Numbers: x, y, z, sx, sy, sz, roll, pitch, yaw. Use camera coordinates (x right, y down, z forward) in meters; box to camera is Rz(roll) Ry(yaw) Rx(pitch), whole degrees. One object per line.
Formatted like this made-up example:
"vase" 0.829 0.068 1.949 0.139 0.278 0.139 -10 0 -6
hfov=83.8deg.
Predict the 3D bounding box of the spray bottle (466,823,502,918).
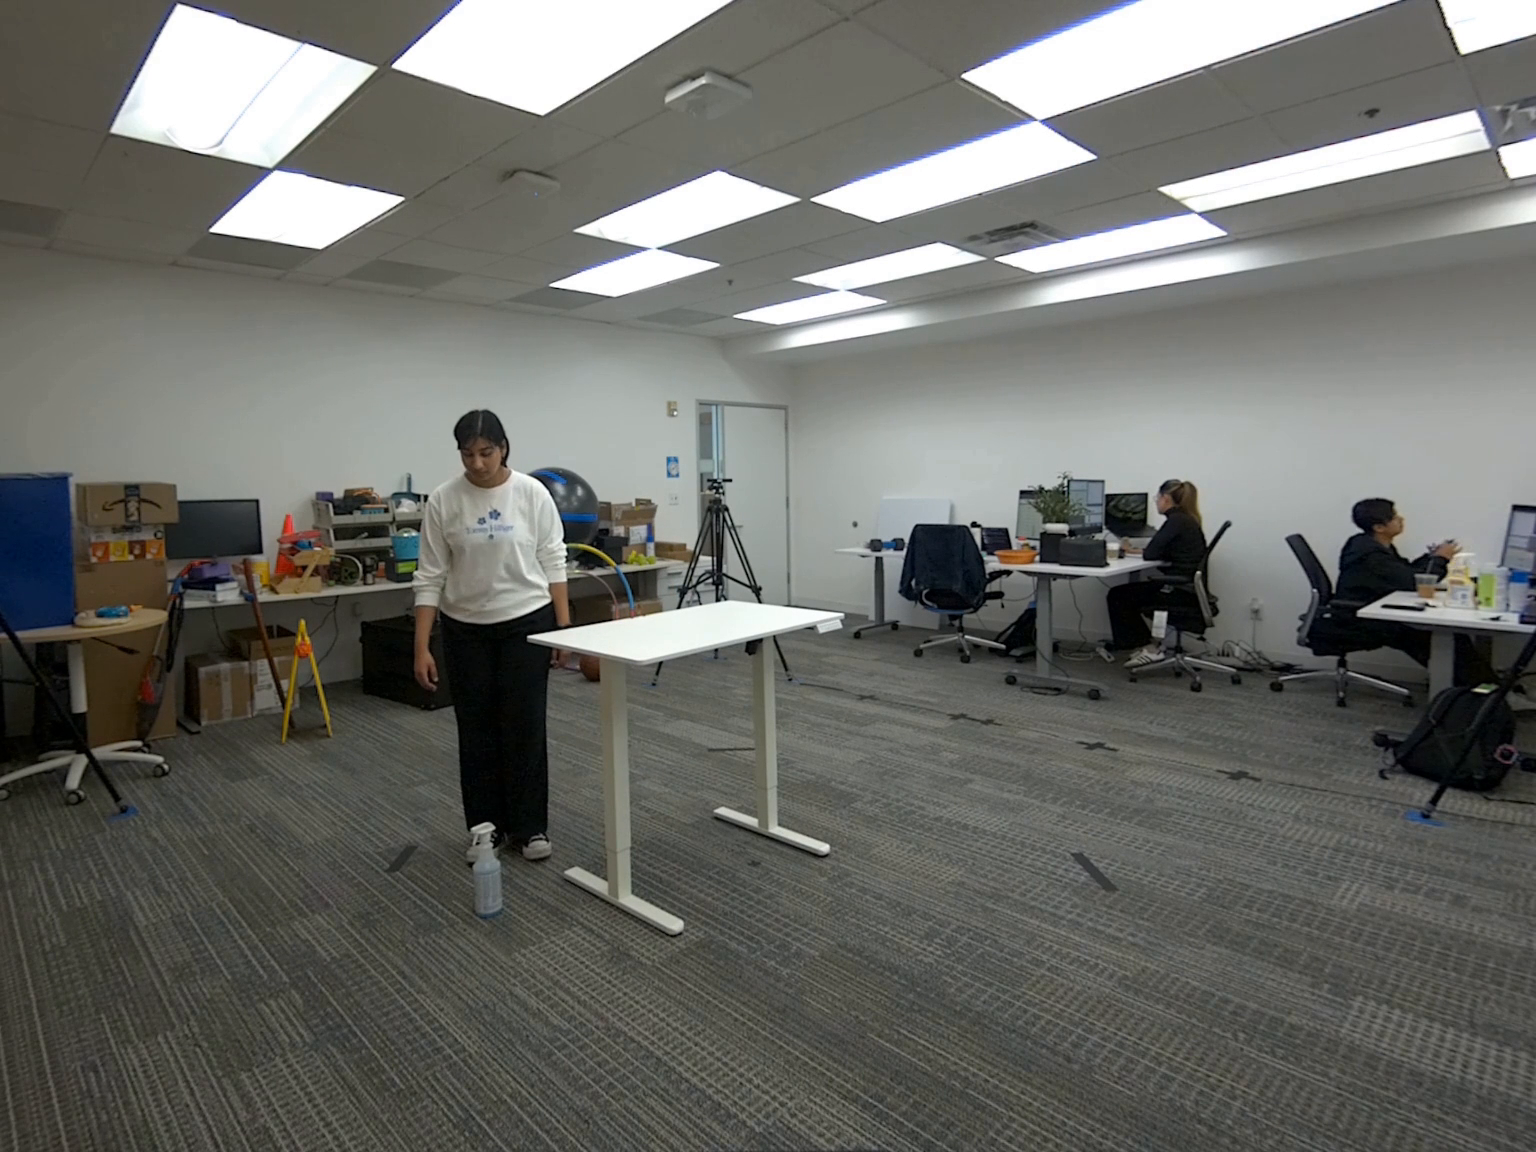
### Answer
"spray bottle" -0.910 0.950 2.795 0.088 0.296 0.089 -4 4 -33
